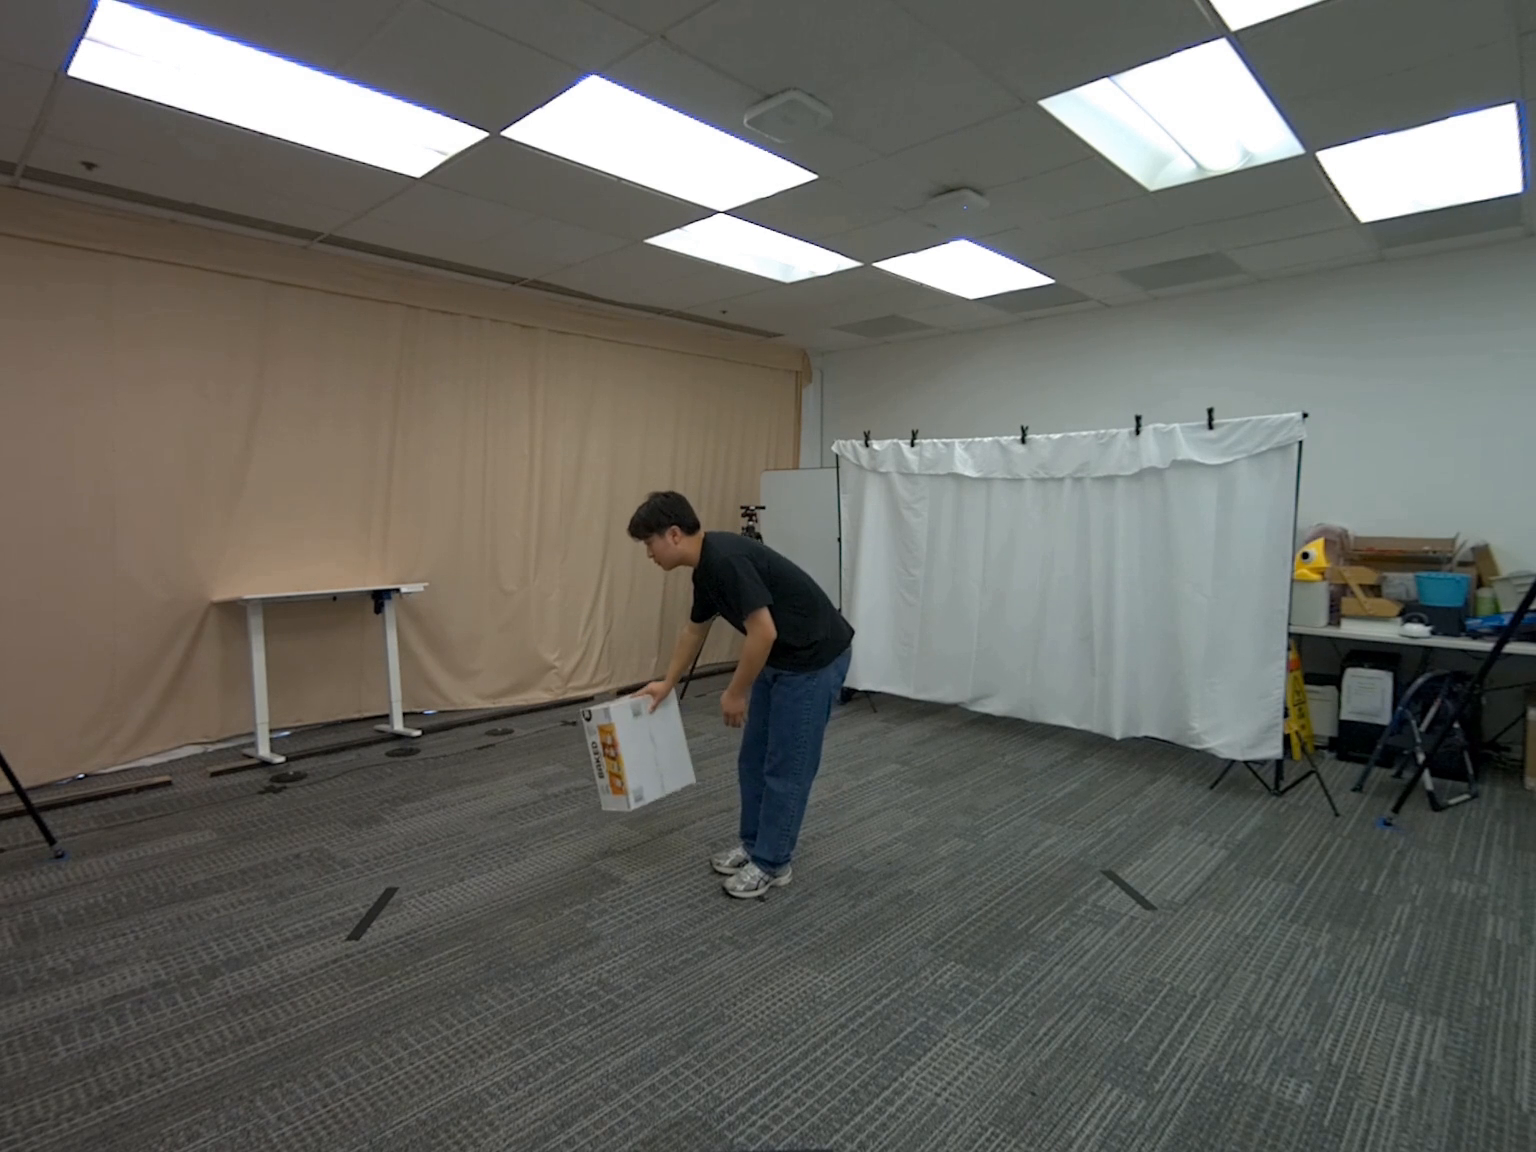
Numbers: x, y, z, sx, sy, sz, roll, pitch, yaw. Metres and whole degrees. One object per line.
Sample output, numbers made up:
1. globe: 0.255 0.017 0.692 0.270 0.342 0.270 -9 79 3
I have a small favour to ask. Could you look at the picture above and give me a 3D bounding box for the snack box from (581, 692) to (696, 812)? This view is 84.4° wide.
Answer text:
1. snack box: -0.522 0.677 3.392 0.331 0.407 0.211 -10 -5 -41
